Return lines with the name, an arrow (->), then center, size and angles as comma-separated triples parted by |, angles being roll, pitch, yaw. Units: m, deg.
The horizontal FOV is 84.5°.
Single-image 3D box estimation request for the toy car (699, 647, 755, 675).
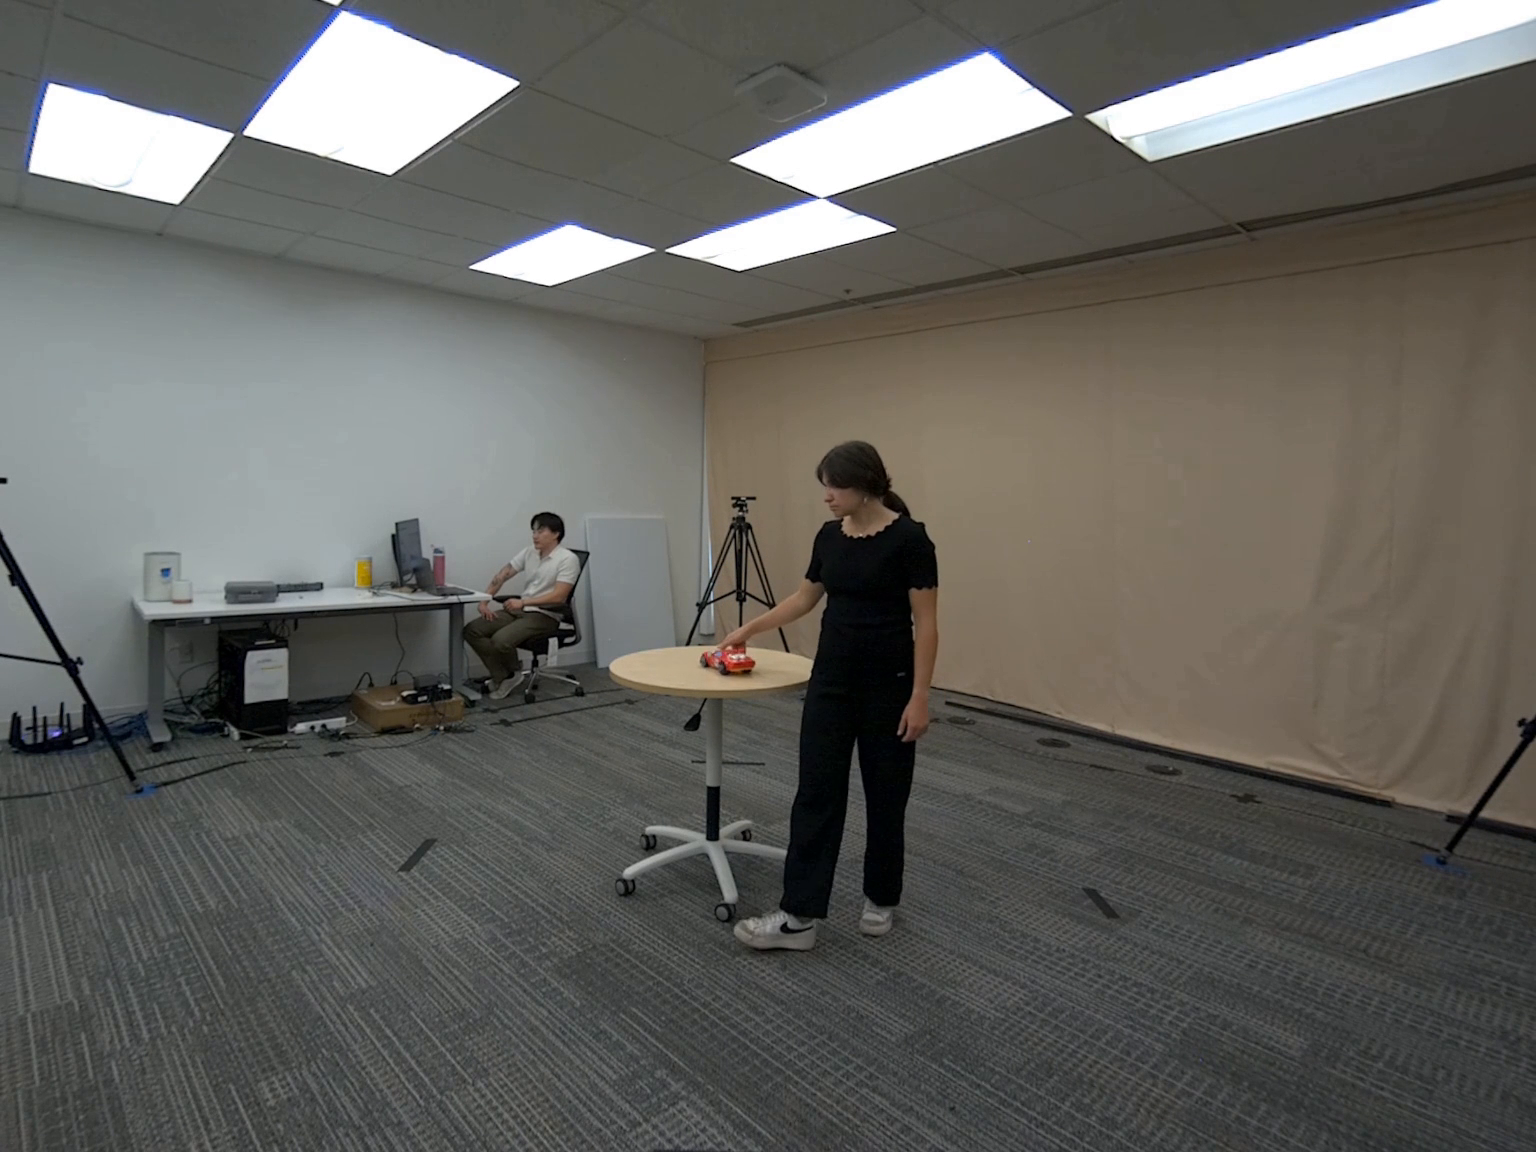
toy car -> -0.146, 0.302, 2.960 | 0.128, 0.083, 0.258 | 0, -5, -29
